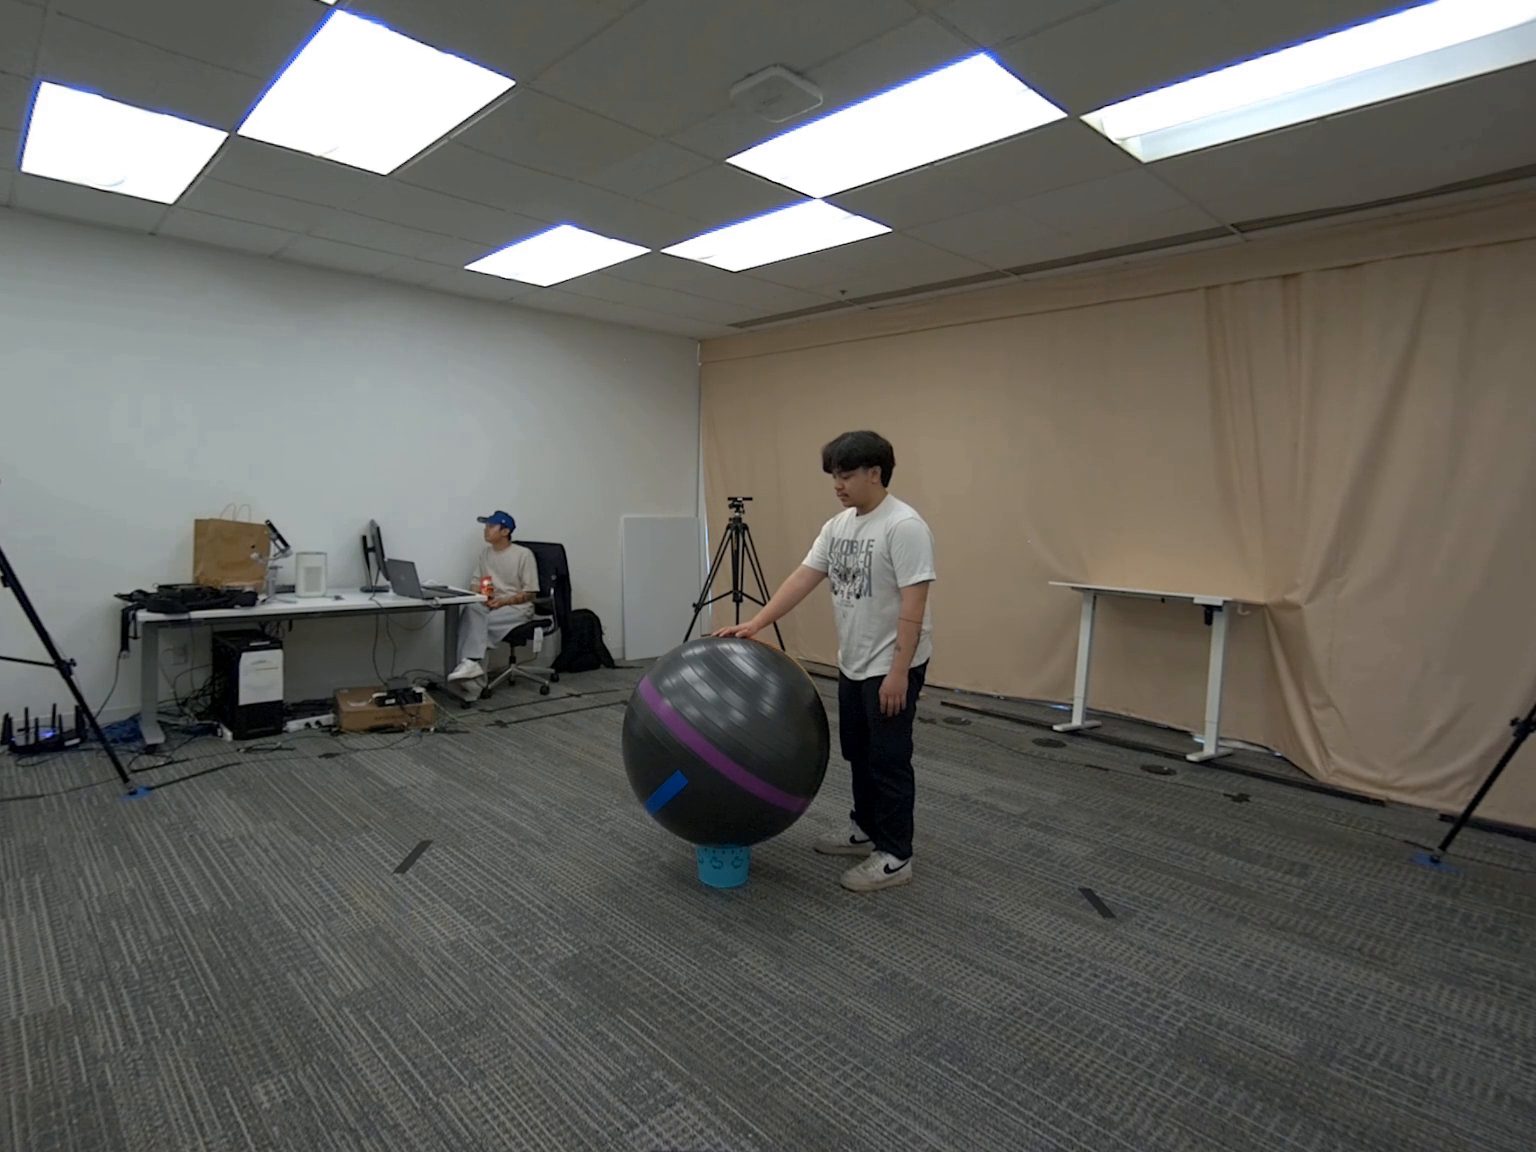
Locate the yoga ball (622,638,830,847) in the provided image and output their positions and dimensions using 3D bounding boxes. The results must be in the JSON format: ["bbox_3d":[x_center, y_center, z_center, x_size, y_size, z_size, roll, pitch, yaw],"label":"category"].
[{"bbox_3d":[-0.161,0.601,3.090,0.757,0.756,0.761,1,4,-1],"label":"yoga ball"}]
